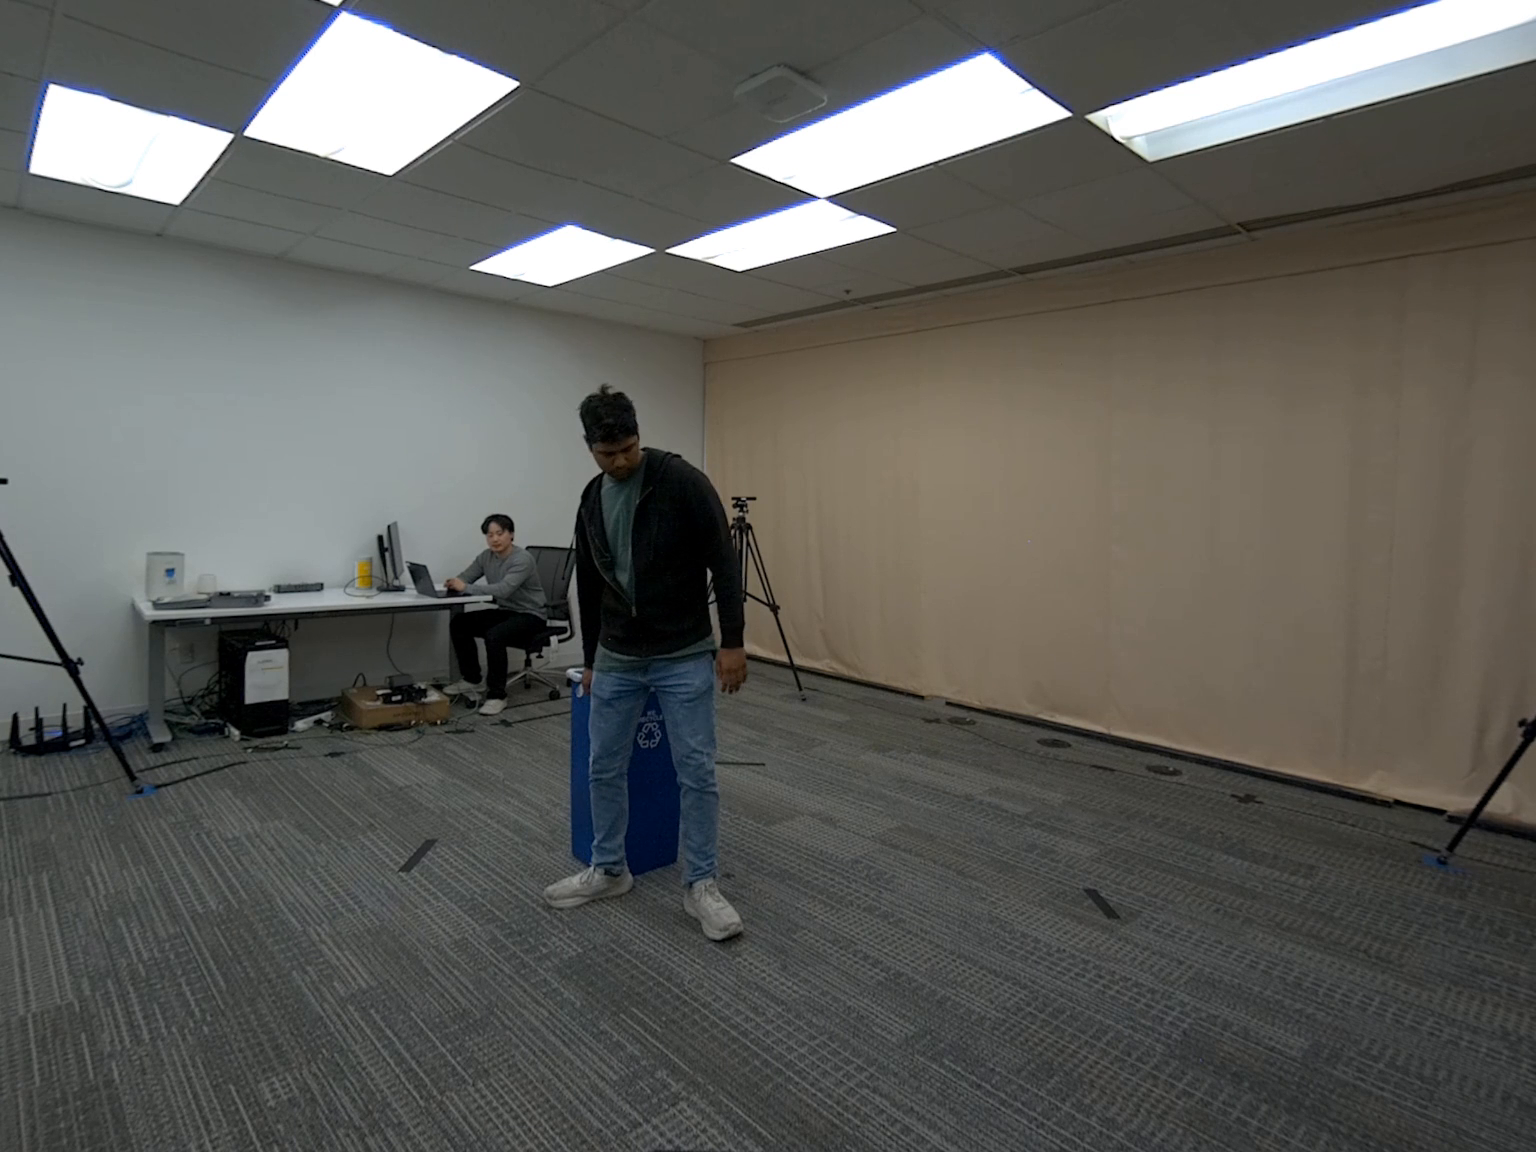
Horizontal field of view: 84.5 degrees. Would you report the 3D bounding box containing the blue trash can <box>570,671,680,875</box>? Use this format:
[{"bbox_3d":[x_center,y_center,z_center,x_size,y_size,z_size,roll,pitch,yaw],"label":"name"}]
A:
[{"bbox_3d":[-0.536,0.727,3.215,0.369,0.712,0.384,-1,4,-43],"label":"blue trash can"}]
